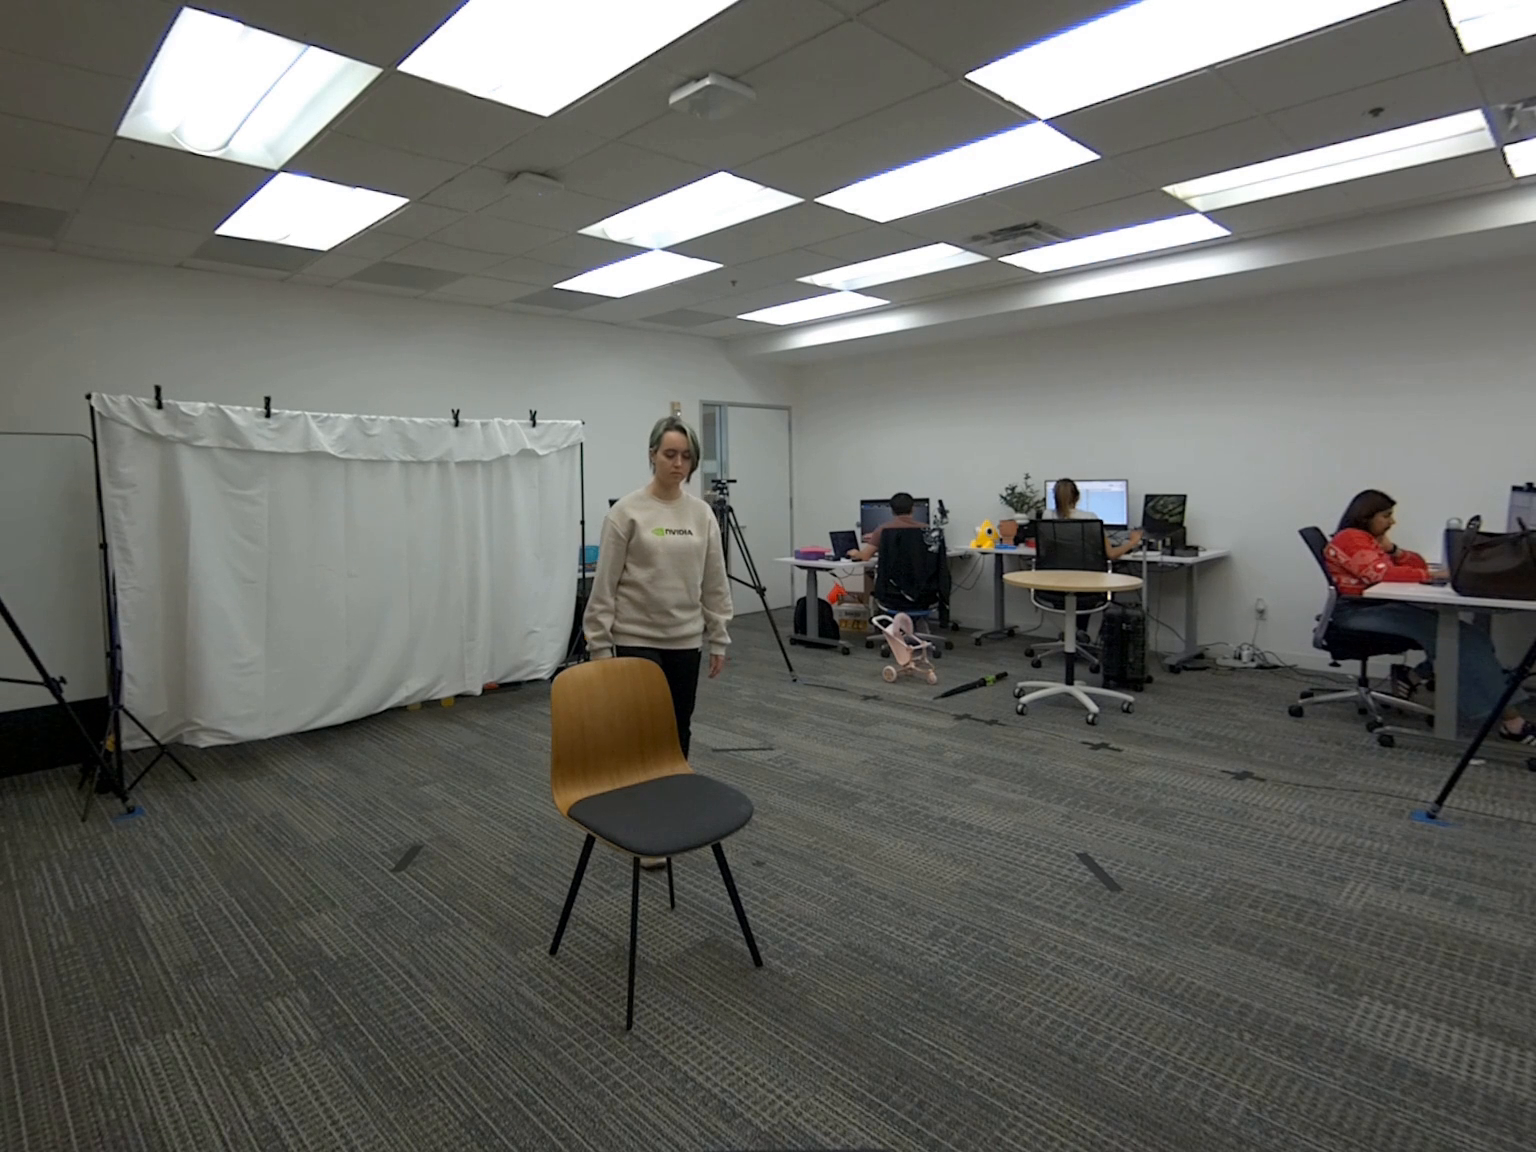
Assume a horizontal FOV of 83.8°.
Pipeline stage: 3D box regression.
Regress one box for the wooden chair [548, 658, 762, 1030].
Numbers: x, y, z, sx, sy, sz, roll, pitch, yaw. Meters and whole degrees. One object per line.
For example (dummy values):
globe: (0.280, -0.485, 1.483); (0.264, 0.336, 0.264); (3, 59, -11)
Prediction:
wooden chair: (-0.337, 0.706, 2.454); (0.466, 0.877, 0.537); (-5, 2, -39)
